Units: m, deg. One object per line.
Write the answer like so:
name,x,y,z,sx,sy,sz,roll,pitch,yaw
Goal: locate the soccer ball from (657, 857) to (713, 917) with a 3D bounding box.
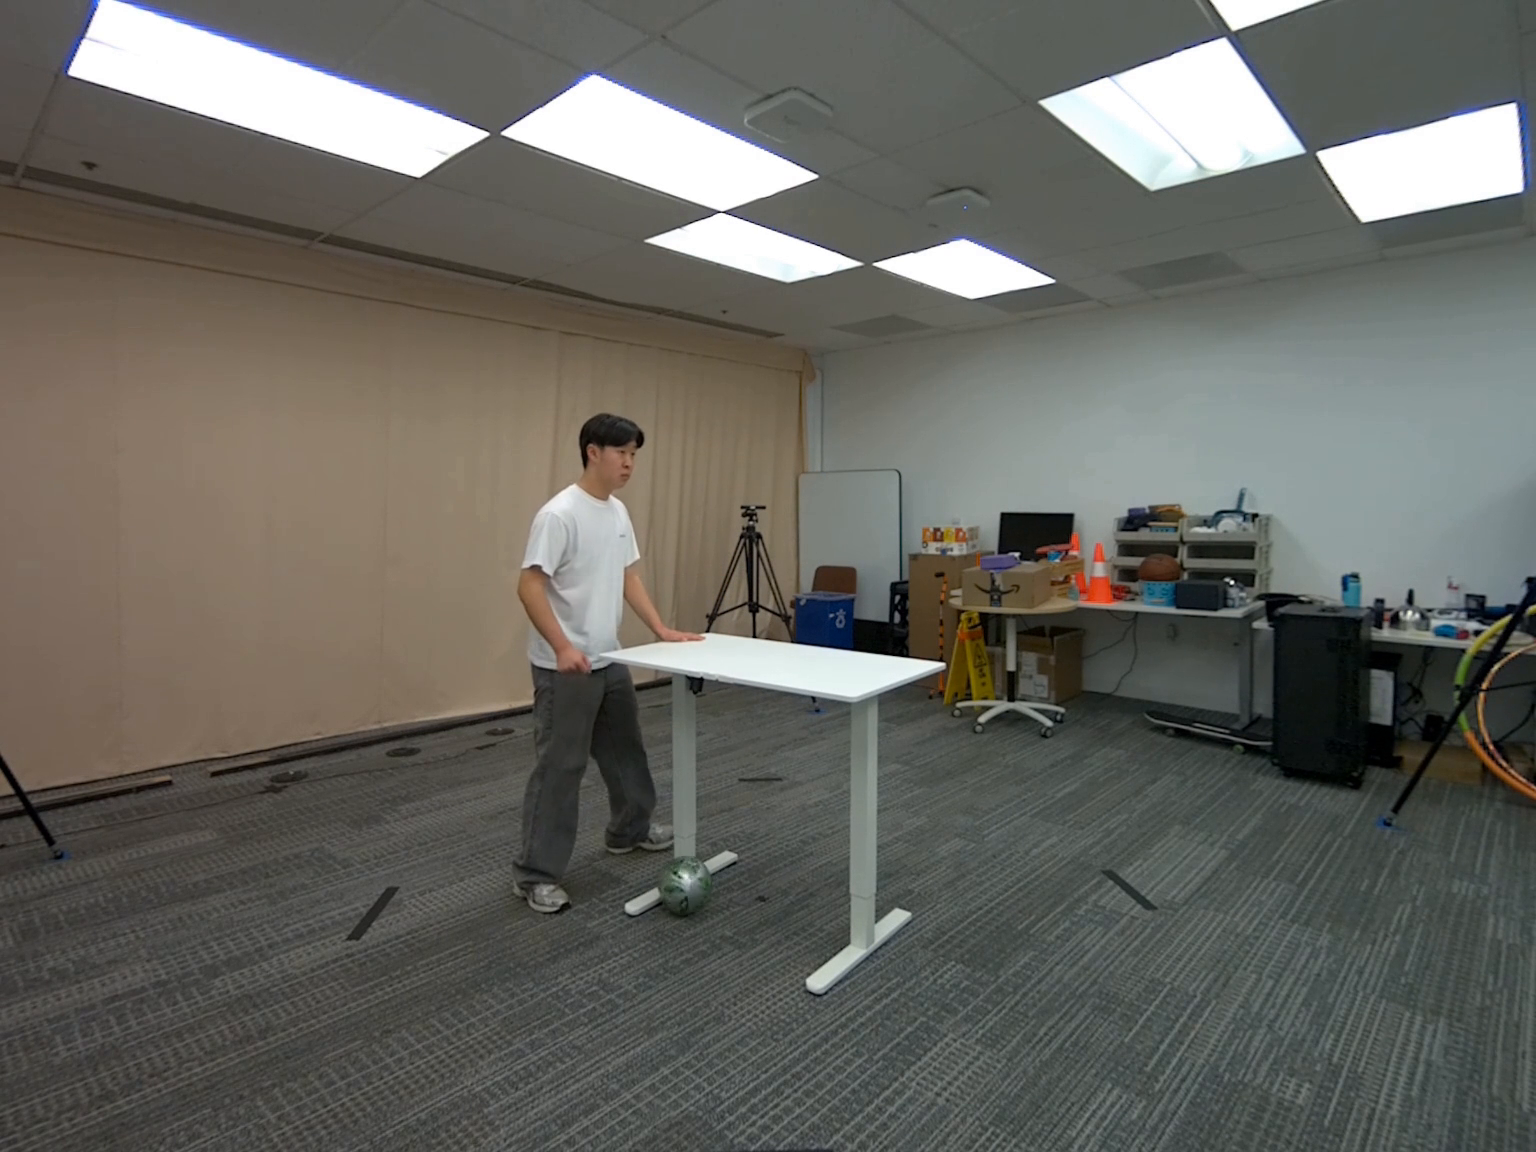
soccer ball,-0.282,1.060,2.883,0.187,0.187,0.188,0,4,-2
